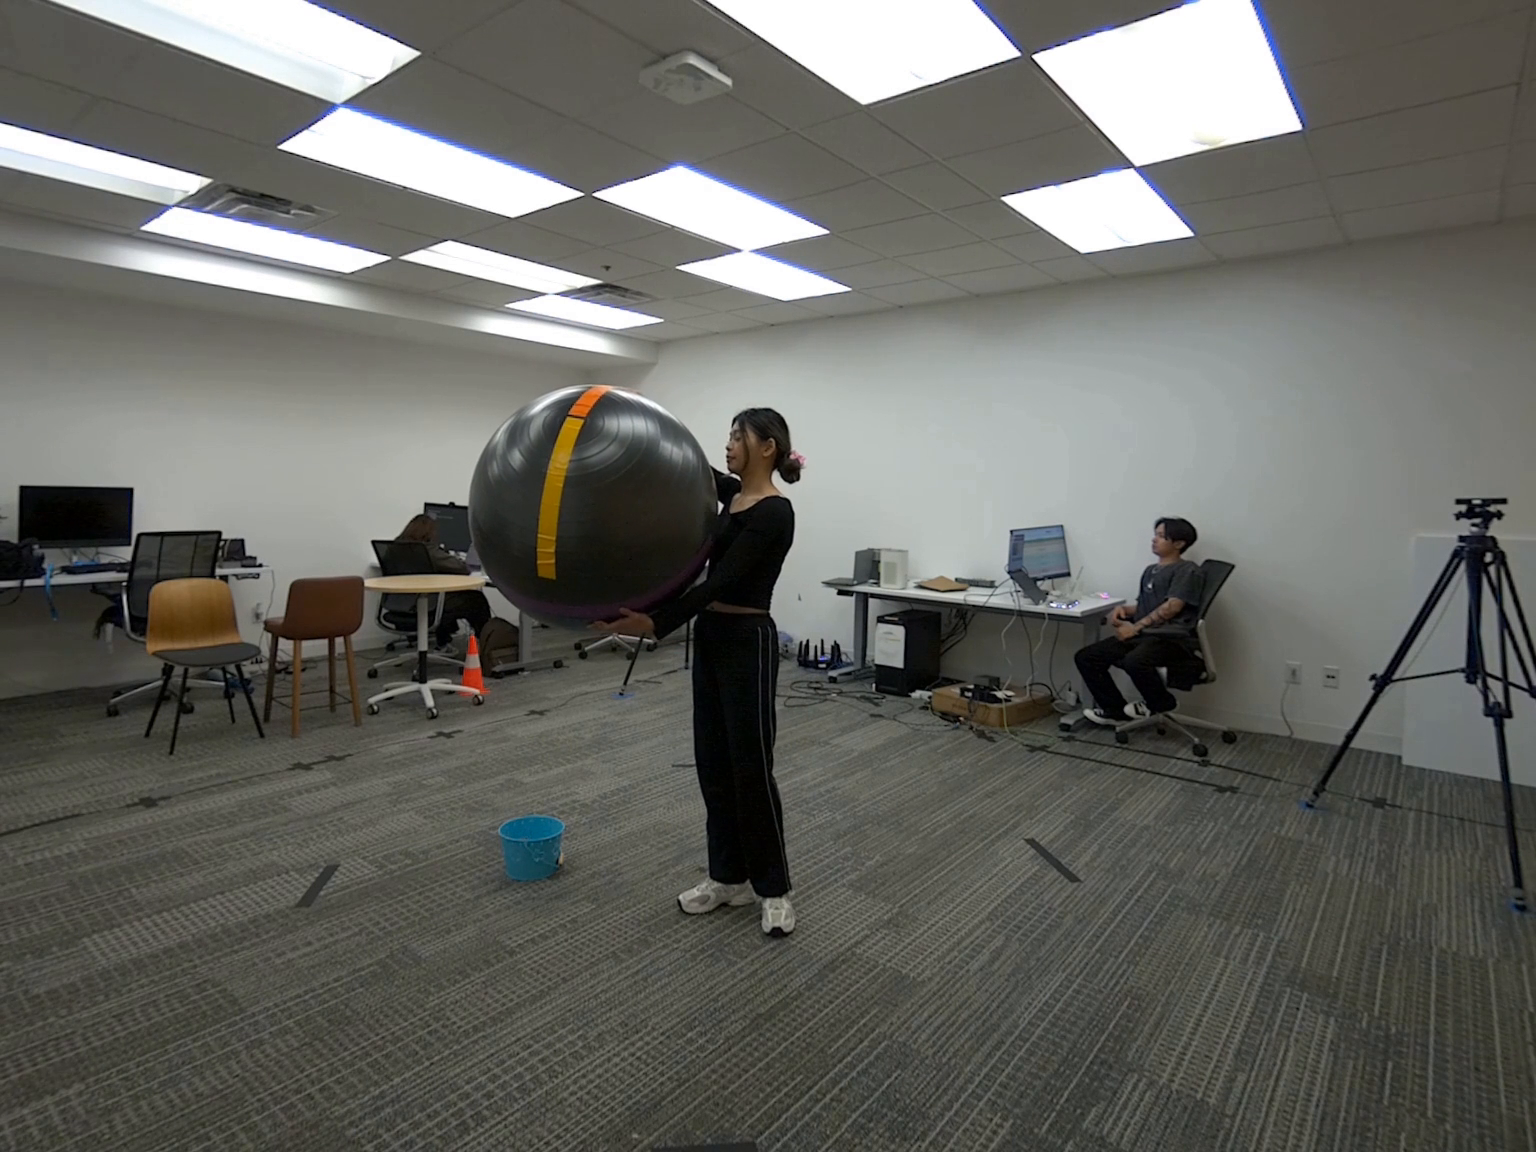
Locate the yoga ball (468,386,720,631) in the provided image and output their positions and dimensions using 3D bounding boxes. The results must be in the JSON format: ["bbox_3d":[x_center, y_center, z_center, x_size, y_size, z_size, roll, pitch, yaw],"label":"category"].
[{"bbox_3d":[-0.535,-0.201,2.614,0.757,0.755,0.762,1,4,-2],"label":"yoga ball"}]
